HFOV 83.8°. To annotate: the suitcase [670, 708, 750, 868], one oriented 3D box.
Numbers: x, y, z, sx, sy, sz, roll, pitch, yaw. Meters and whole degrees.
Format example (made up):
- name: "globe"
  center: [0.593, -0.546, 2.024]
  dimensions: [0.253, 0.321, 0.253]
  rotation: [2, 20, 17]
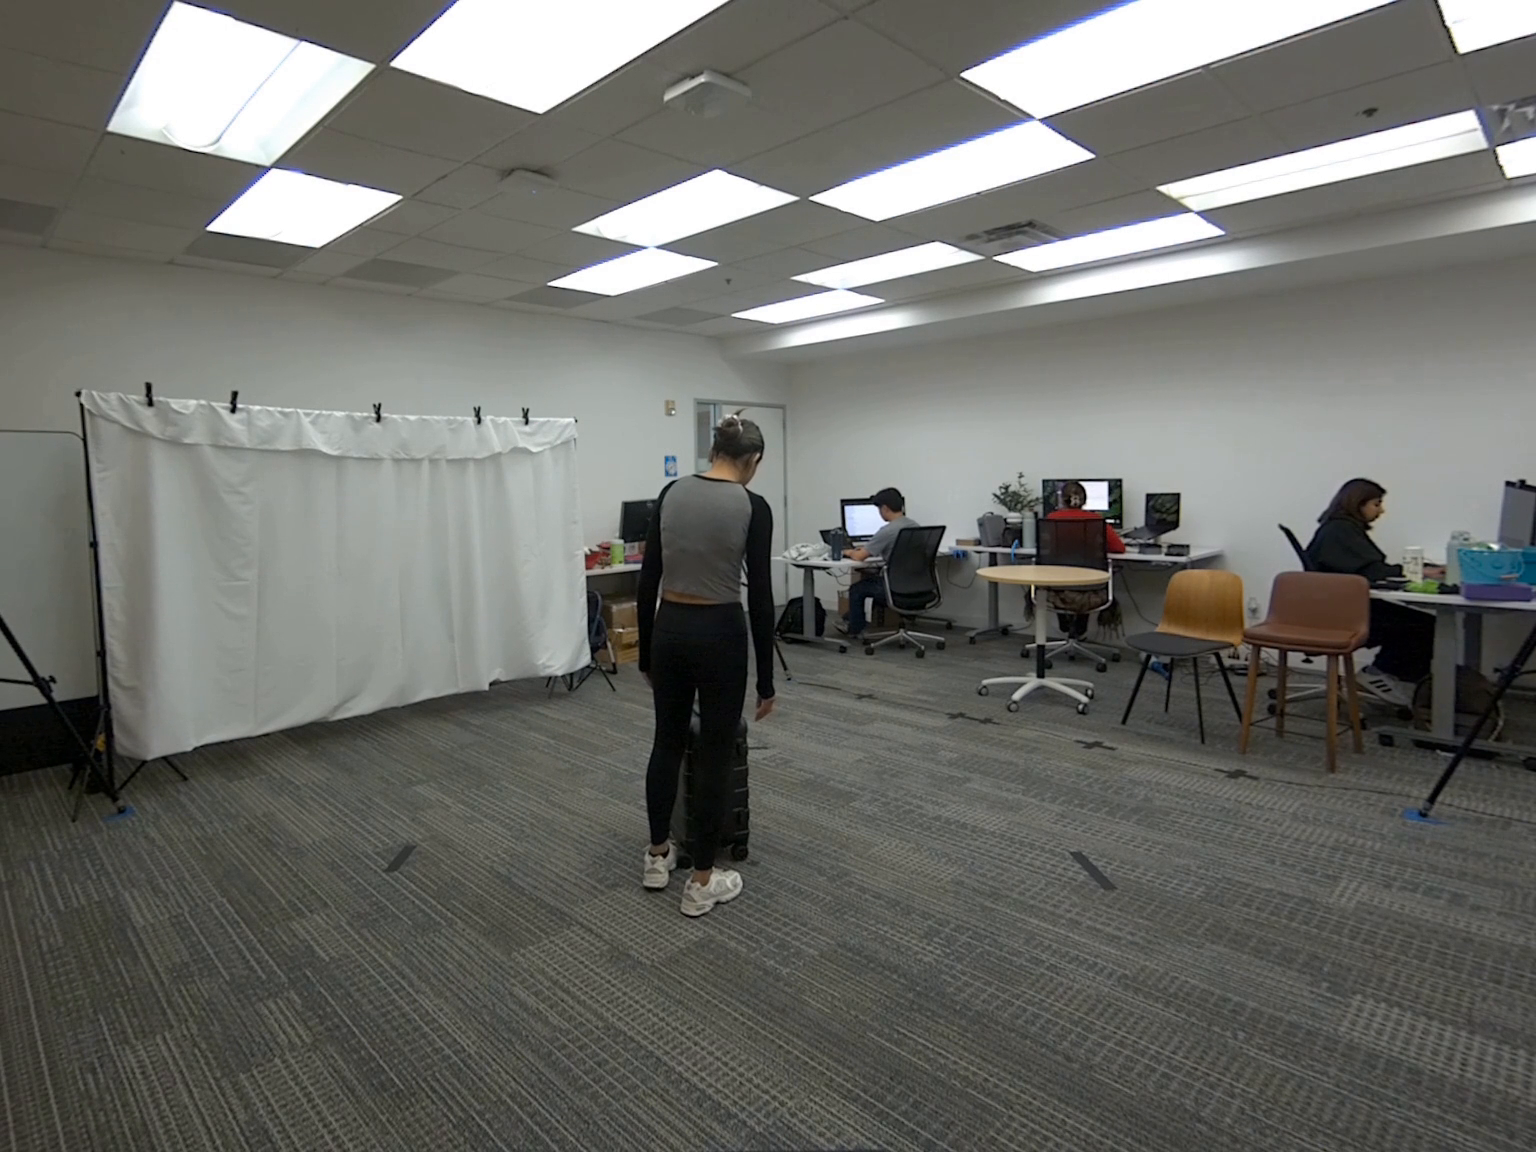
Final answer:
- name: "suitcase"
  center: [-0.227, 0.753, 3.244]
  dimensions: [0.245, 0.548, 0.382]
  rotation: [-2, 4, -17]
